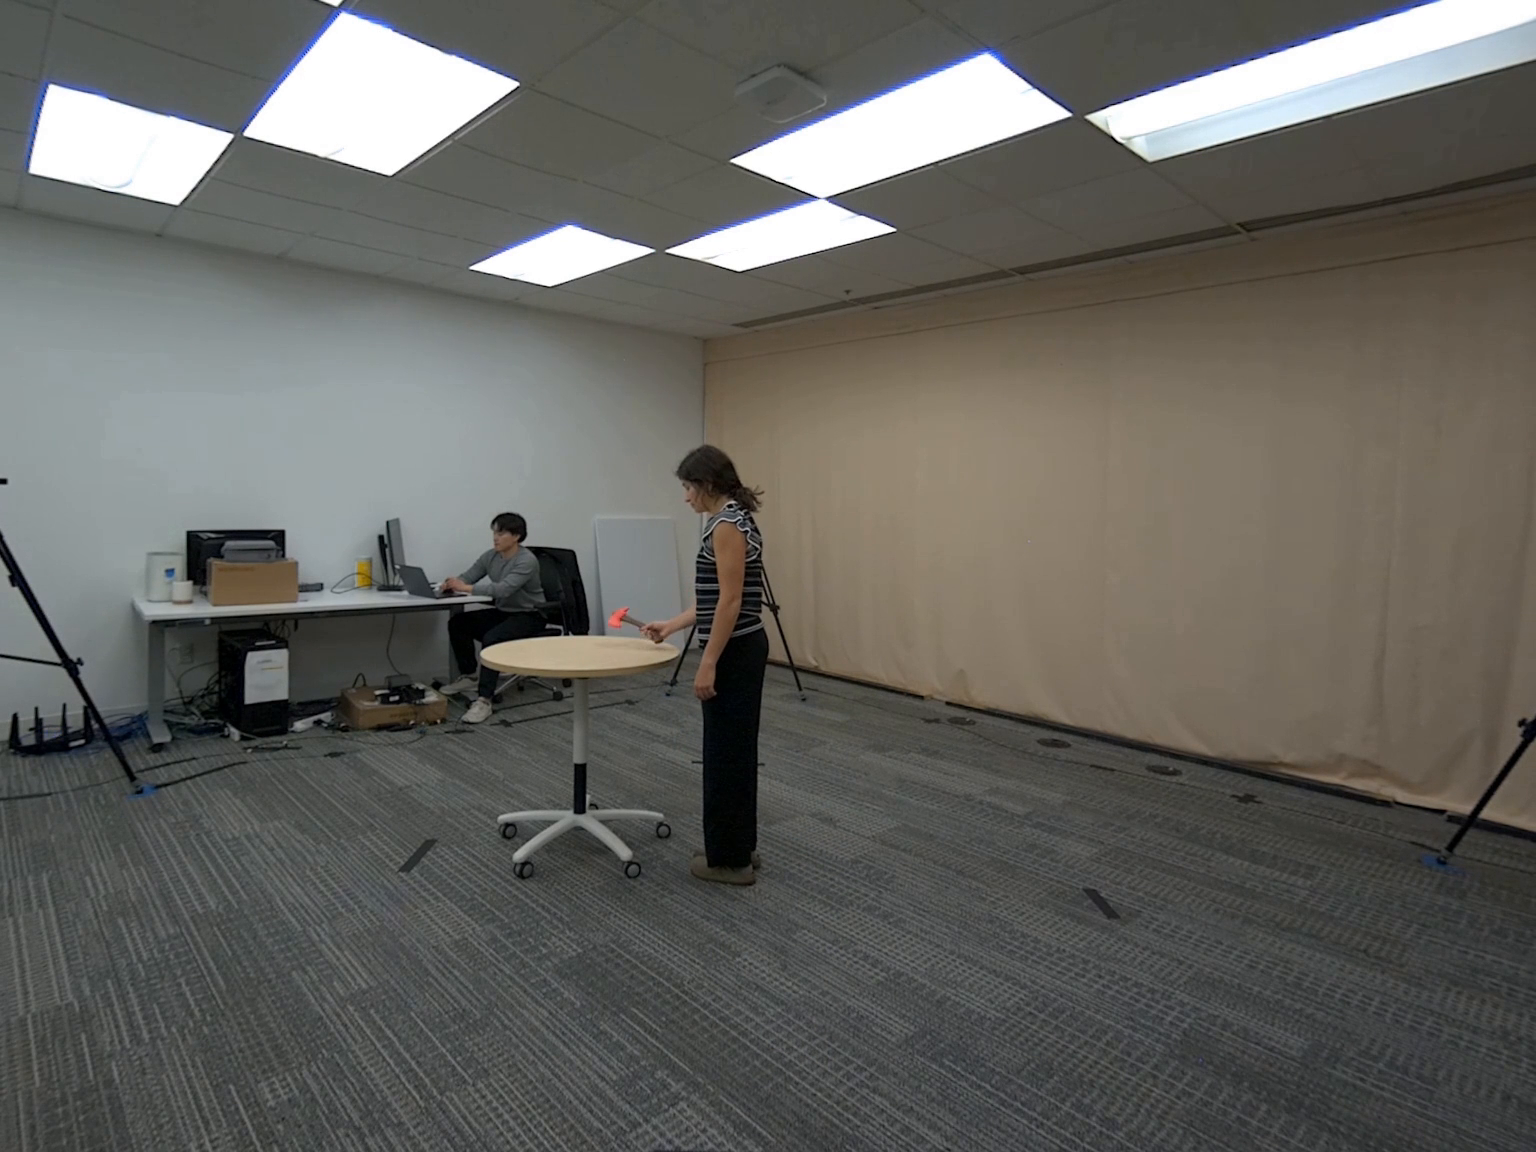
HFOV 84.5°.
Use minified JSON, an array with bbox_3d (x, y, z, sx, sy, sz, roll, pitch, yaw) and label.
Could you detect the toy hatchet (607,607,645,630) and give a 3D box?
[{"bbox_3d":[-0.540,0.216,3.388,0.129,0.029,0.279,-25,43,-31],"label":"toy hatchet"}]
